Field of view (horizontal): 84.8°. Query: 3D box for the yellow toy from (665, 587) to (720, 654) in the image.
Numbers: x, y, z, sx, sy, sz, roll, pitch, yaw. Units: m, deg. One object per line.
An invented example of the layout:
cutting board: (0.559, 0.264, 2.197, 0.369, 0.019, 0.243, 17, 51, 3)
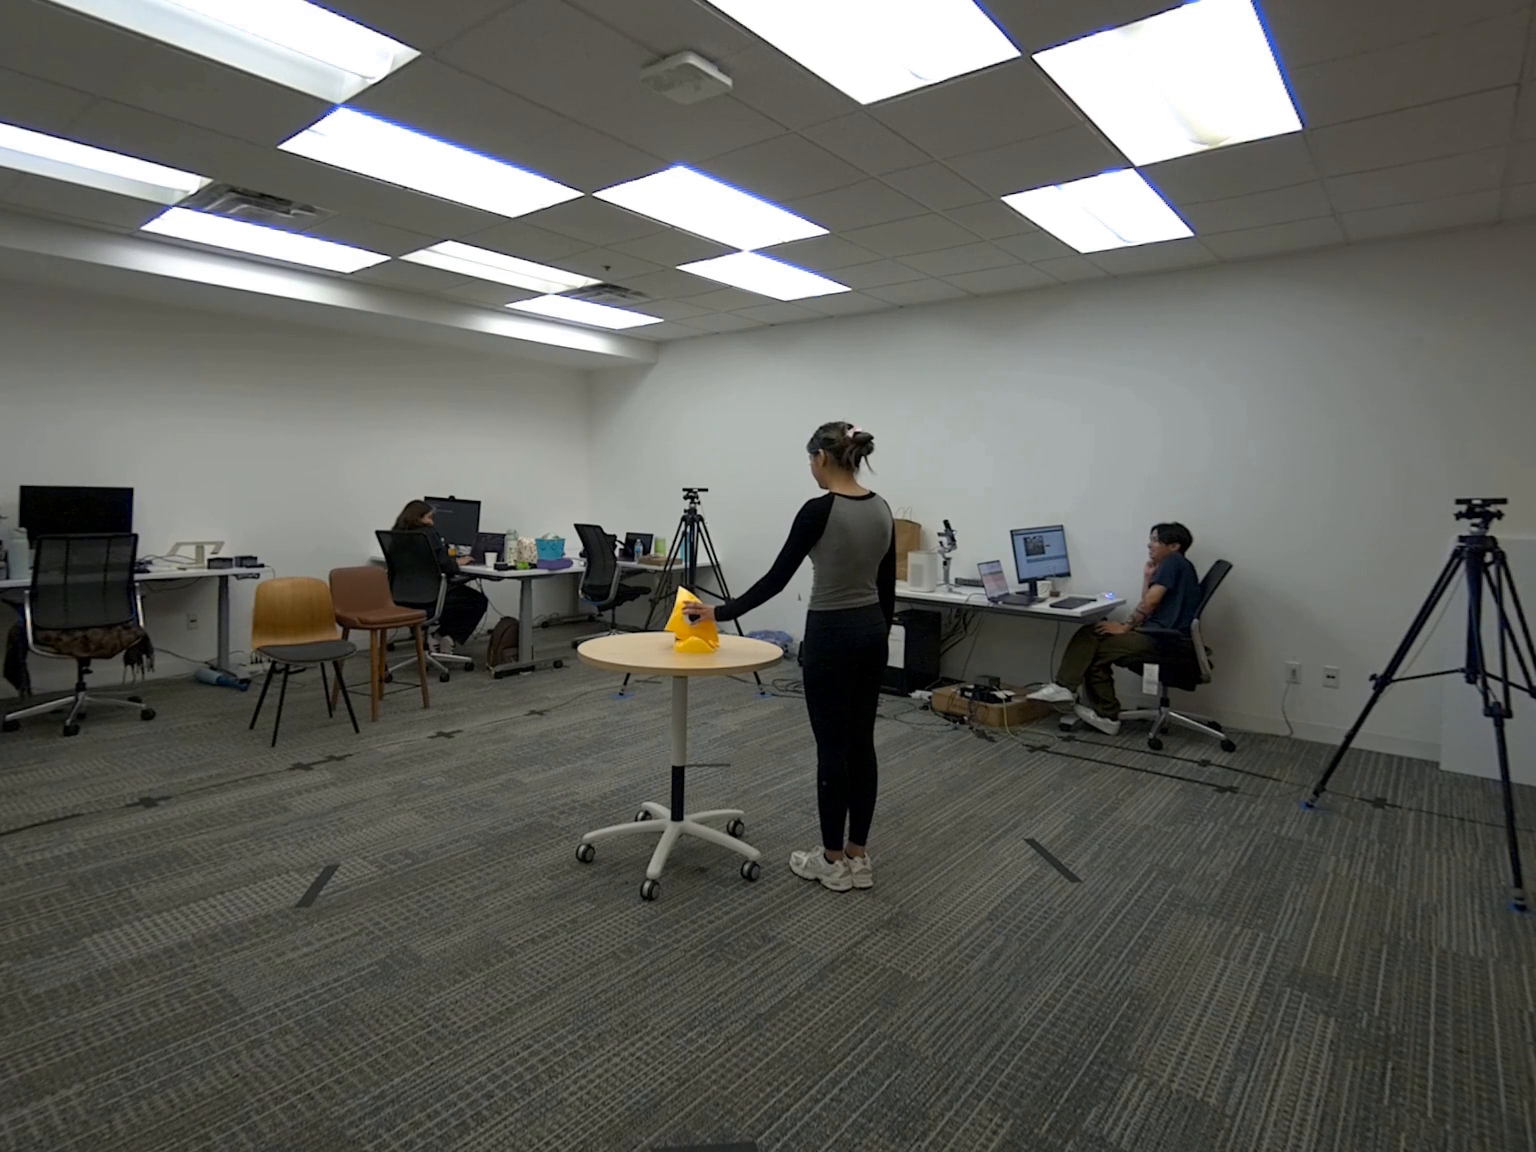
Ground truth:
yellow toy: (-0.284, 0.156, 3.195, 0.195, 0.230, 0.203, 2, 4, 8)
